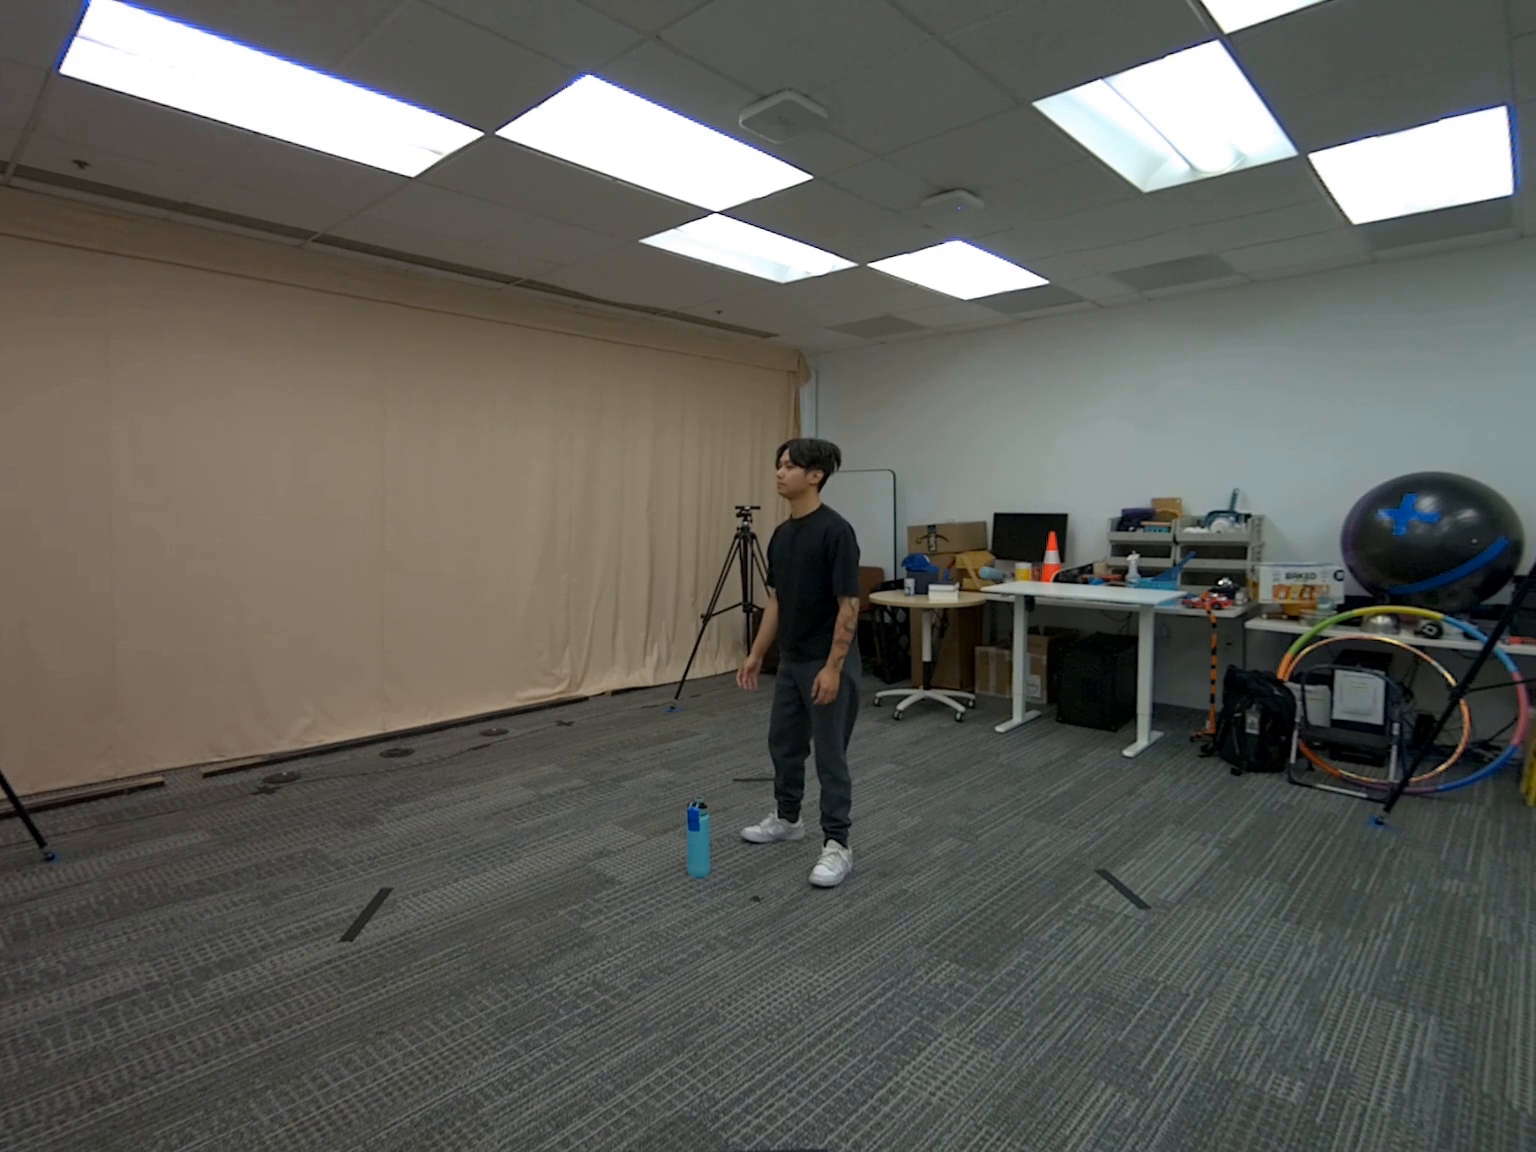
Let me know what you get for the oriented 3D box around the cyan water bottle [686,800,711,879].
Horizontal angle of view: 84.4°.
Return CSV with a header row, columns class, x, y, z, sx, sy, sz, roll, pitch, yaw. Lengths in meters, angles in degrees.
class,x,y,z,sx,sy,sz,roll,pitch,yaw
cyan water bottle,-0.262,0.994,3.201,0.092,0.283,0.092,0,4,-2
